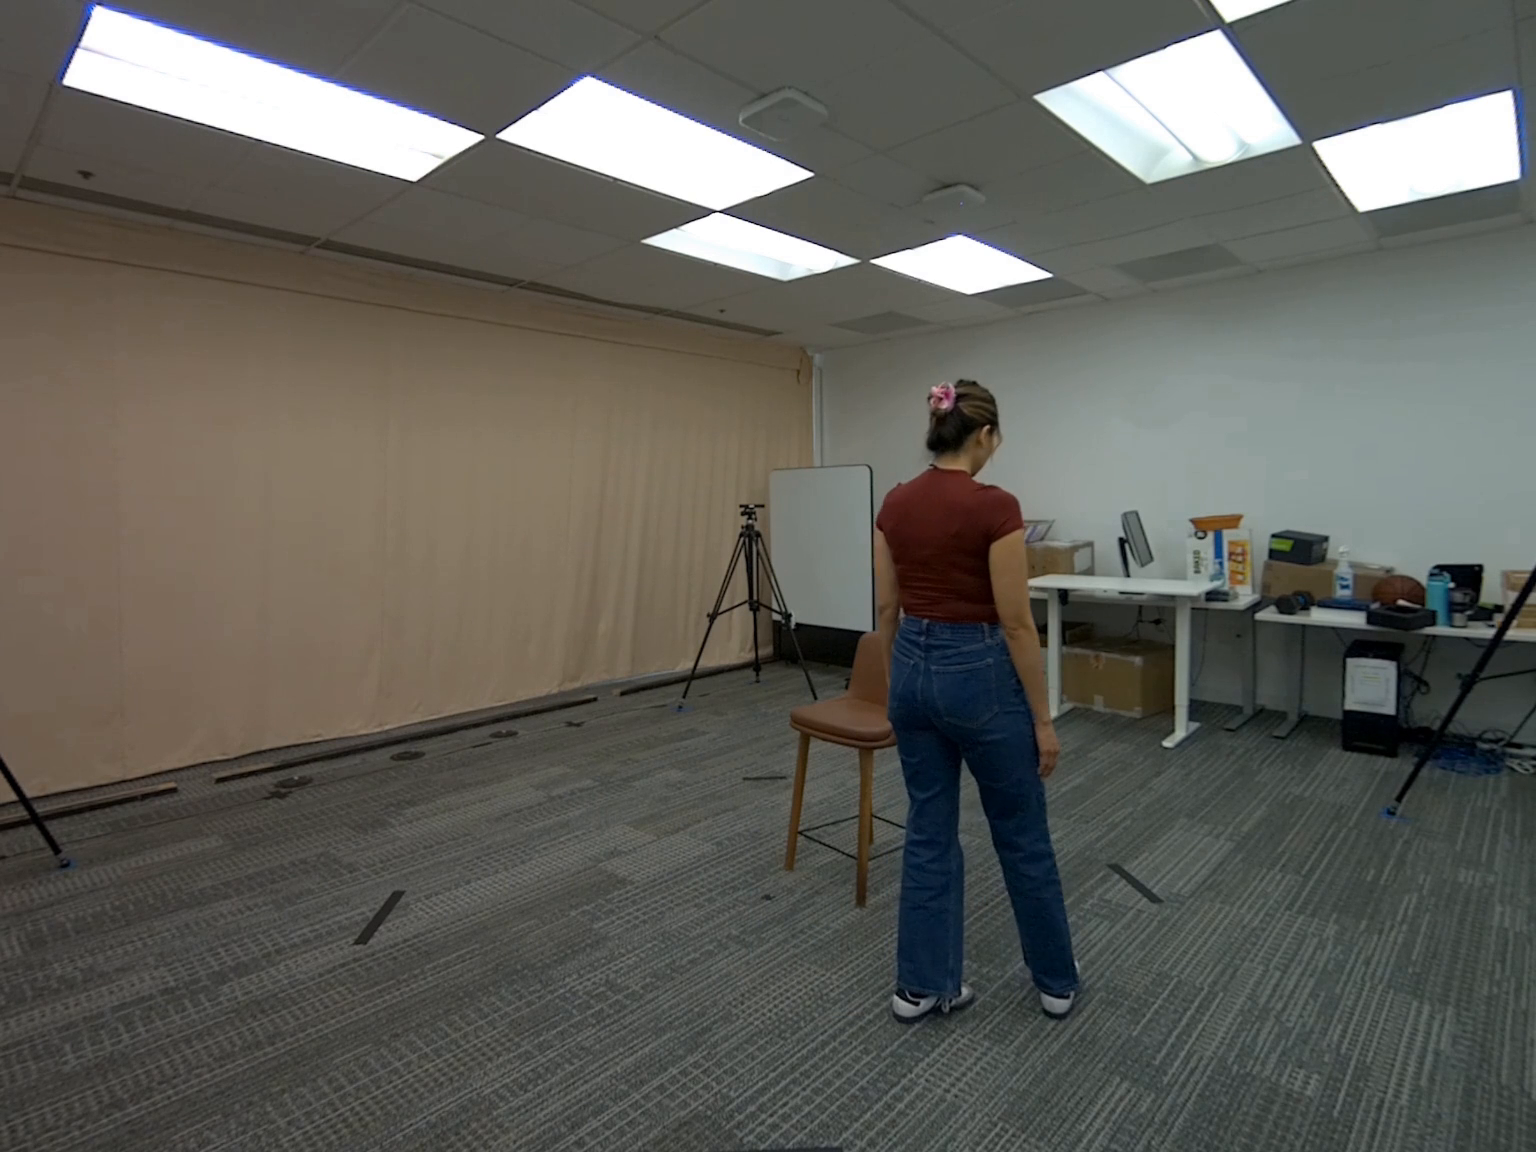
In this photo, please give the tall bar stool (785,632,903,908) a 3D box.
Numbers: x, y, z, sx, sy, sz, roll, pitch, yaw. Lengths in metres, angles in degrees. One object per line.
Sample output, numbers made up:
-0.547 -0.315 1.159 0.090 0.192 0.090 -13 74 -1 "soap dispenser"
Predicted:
0.364 0.684 3.166 0.453 0.889 0.471 -1 3 -39 "tall bar stool"
